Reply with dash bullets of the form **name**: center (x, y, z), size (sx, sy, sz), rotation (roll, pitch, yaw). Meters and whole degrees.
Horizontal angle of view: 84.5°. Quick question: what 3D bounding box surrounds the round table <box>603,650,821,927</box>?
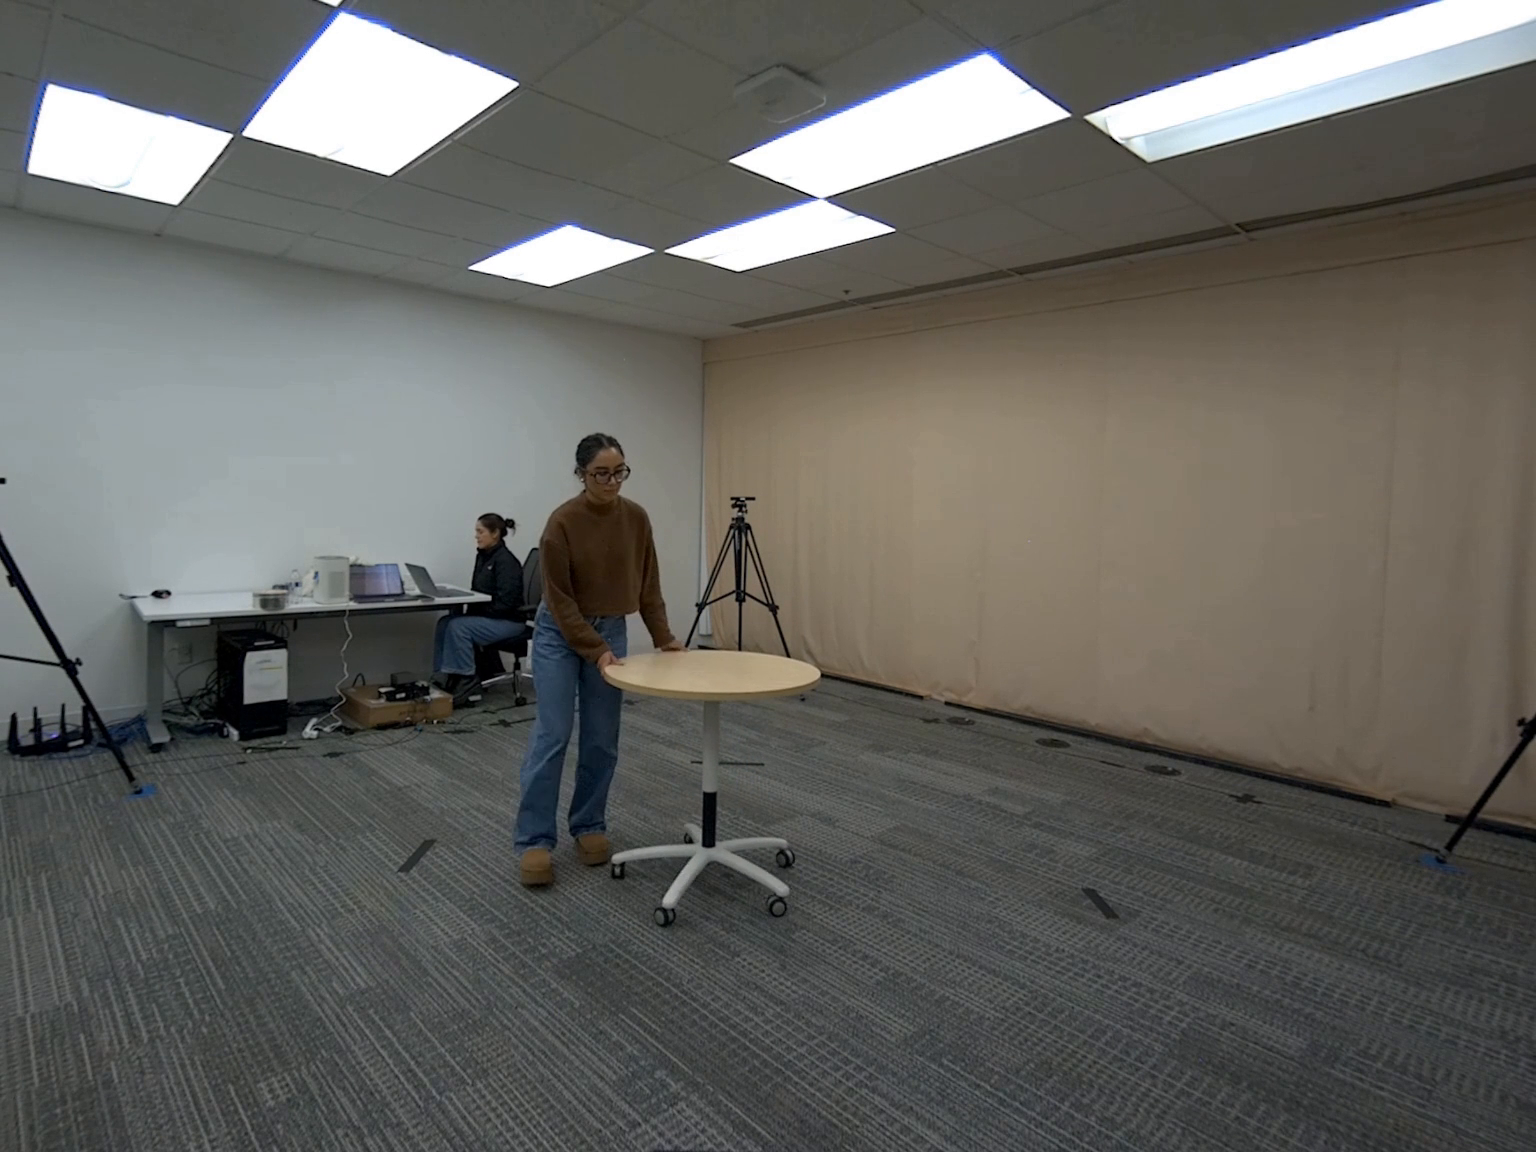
- **round table**: center (-0.209, 0.718, 3.030), size (0.784, 0.784, 0.788), rotation (1, 4, -1)
